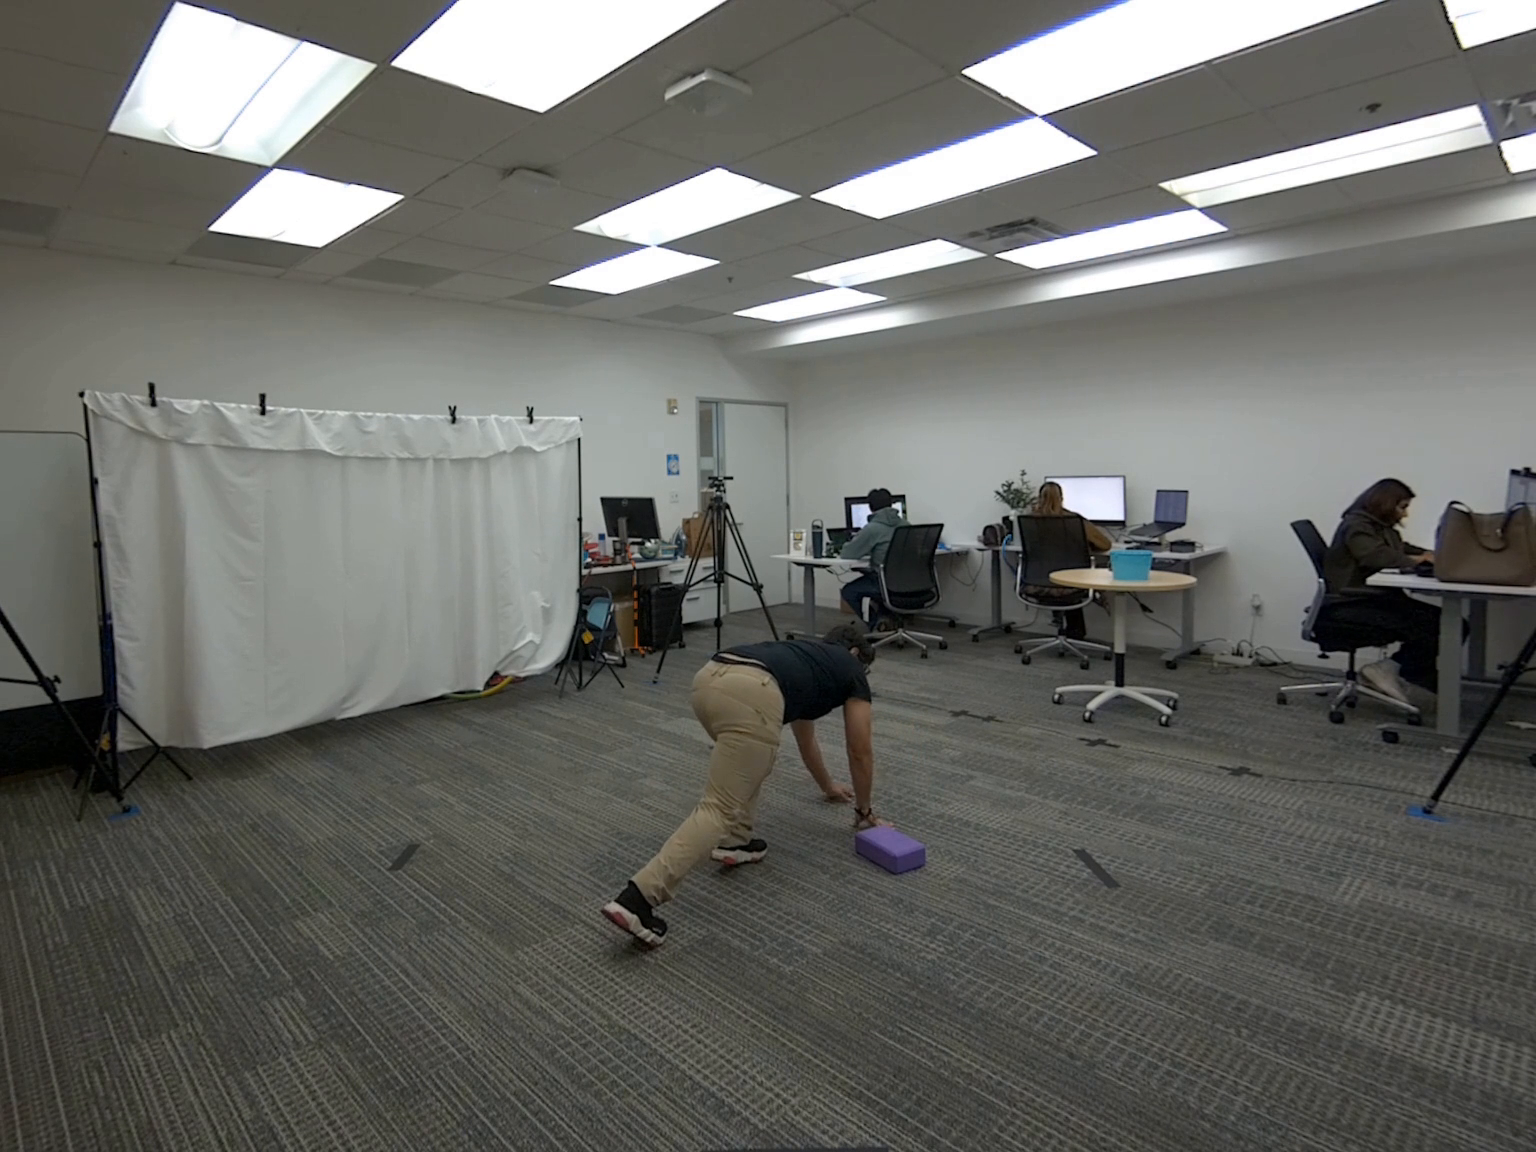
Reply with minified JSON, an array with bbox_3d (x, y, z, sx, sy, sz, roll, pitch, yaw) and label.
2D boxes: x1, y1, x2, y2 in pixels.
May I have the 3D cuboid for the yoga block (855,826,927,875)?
[{"bbox_3d":[0.443,0.985,3.104,0.145,0.076,0.236,-4,7,-31],"label":"yoga block"}]
